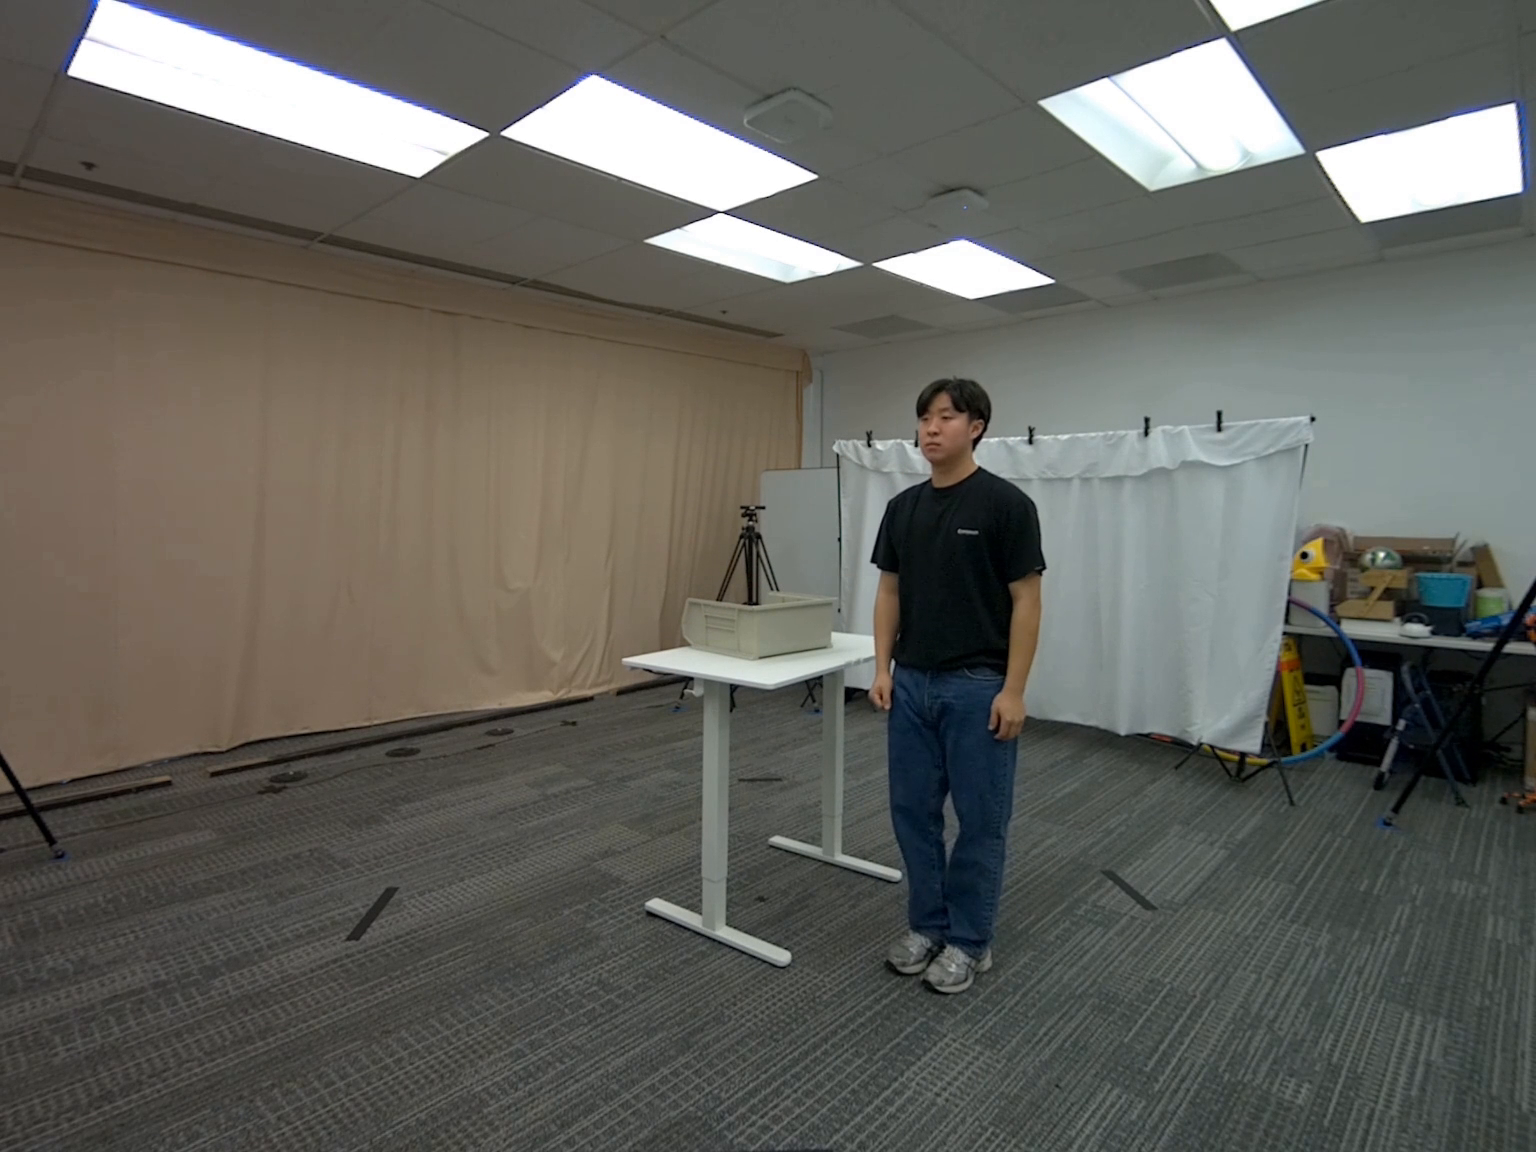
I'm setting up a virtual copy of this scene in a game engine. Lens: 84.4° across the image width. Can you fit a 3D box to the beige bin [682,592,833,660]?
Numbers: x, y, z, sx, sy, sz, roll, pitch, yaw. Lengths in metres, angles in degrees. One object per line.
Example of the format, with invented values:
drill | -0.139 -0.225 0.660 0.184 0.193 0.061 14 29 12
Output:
beige bin | -0.030 0.168 3.016 0.409 0.188 0.390 -3 7 -44
